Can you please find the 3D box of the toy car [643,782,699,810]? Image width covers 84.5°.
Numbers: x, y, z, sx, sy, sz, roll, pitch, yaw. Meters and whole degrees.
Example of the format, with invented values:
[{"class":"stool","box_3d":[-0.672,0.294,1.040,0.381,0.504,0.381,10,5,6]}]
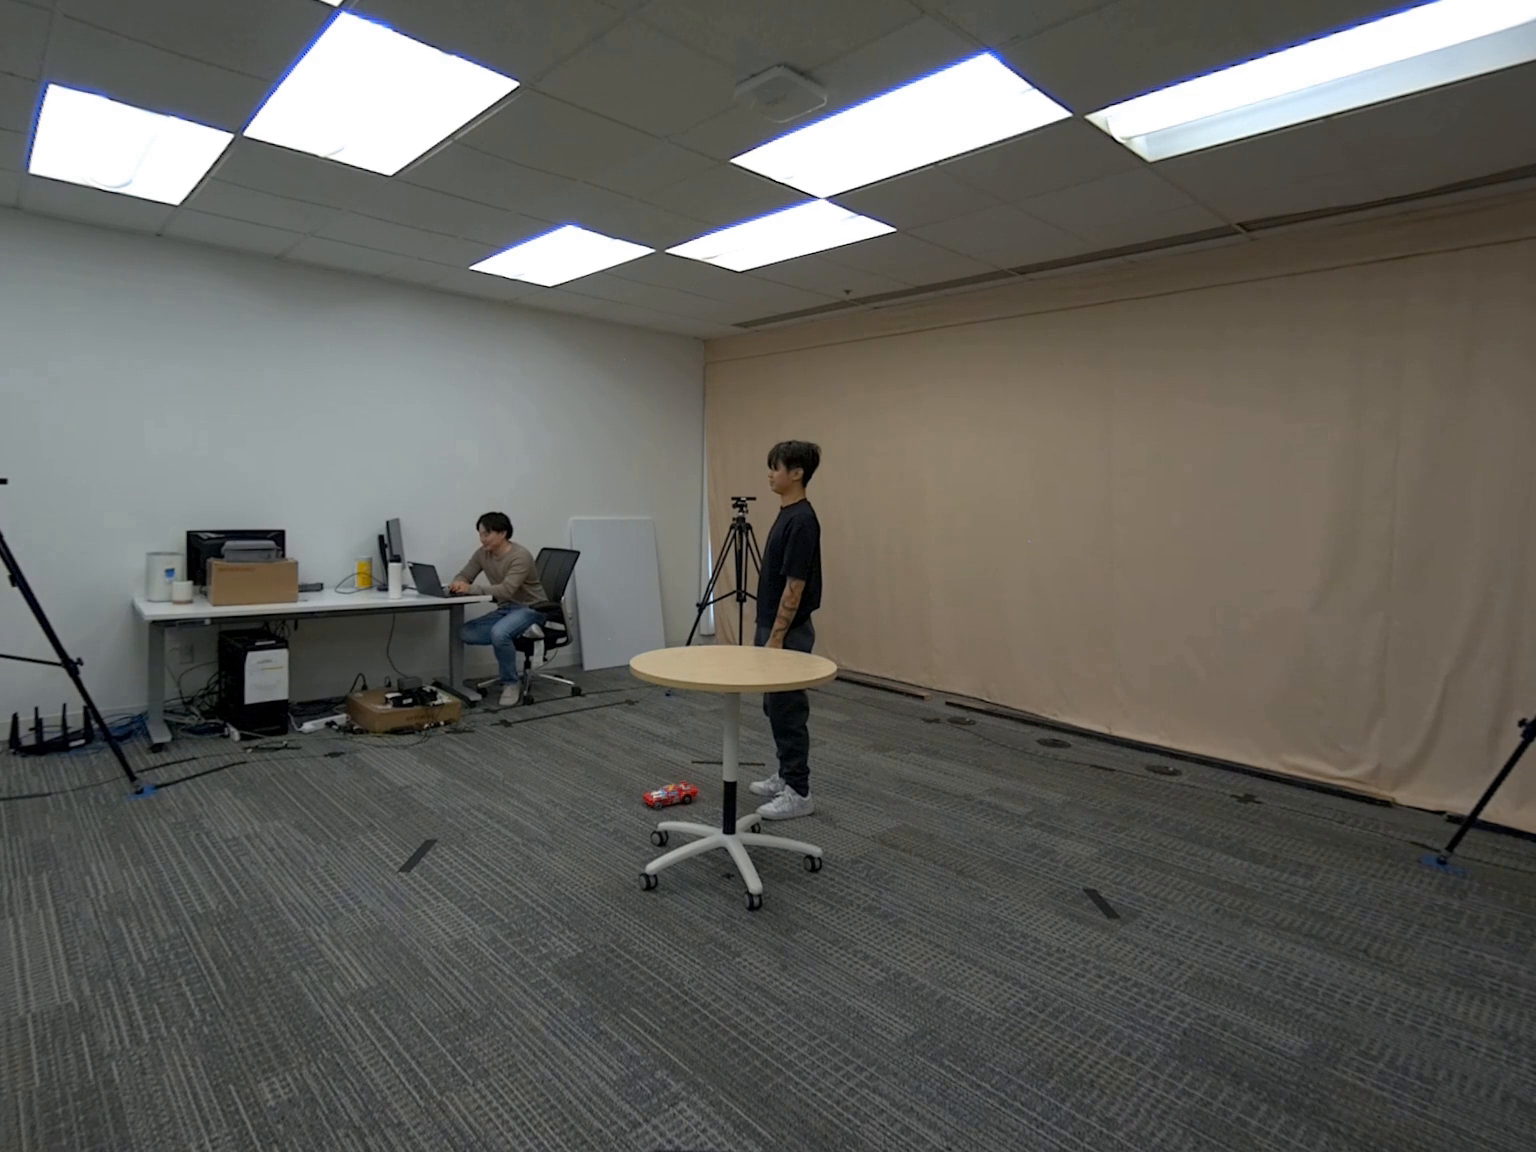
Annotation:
[{"class":"toy car","box_3d":[-0.455,1.005,3.848,0.250,0.082,0.133,-14,11,-29]}]
